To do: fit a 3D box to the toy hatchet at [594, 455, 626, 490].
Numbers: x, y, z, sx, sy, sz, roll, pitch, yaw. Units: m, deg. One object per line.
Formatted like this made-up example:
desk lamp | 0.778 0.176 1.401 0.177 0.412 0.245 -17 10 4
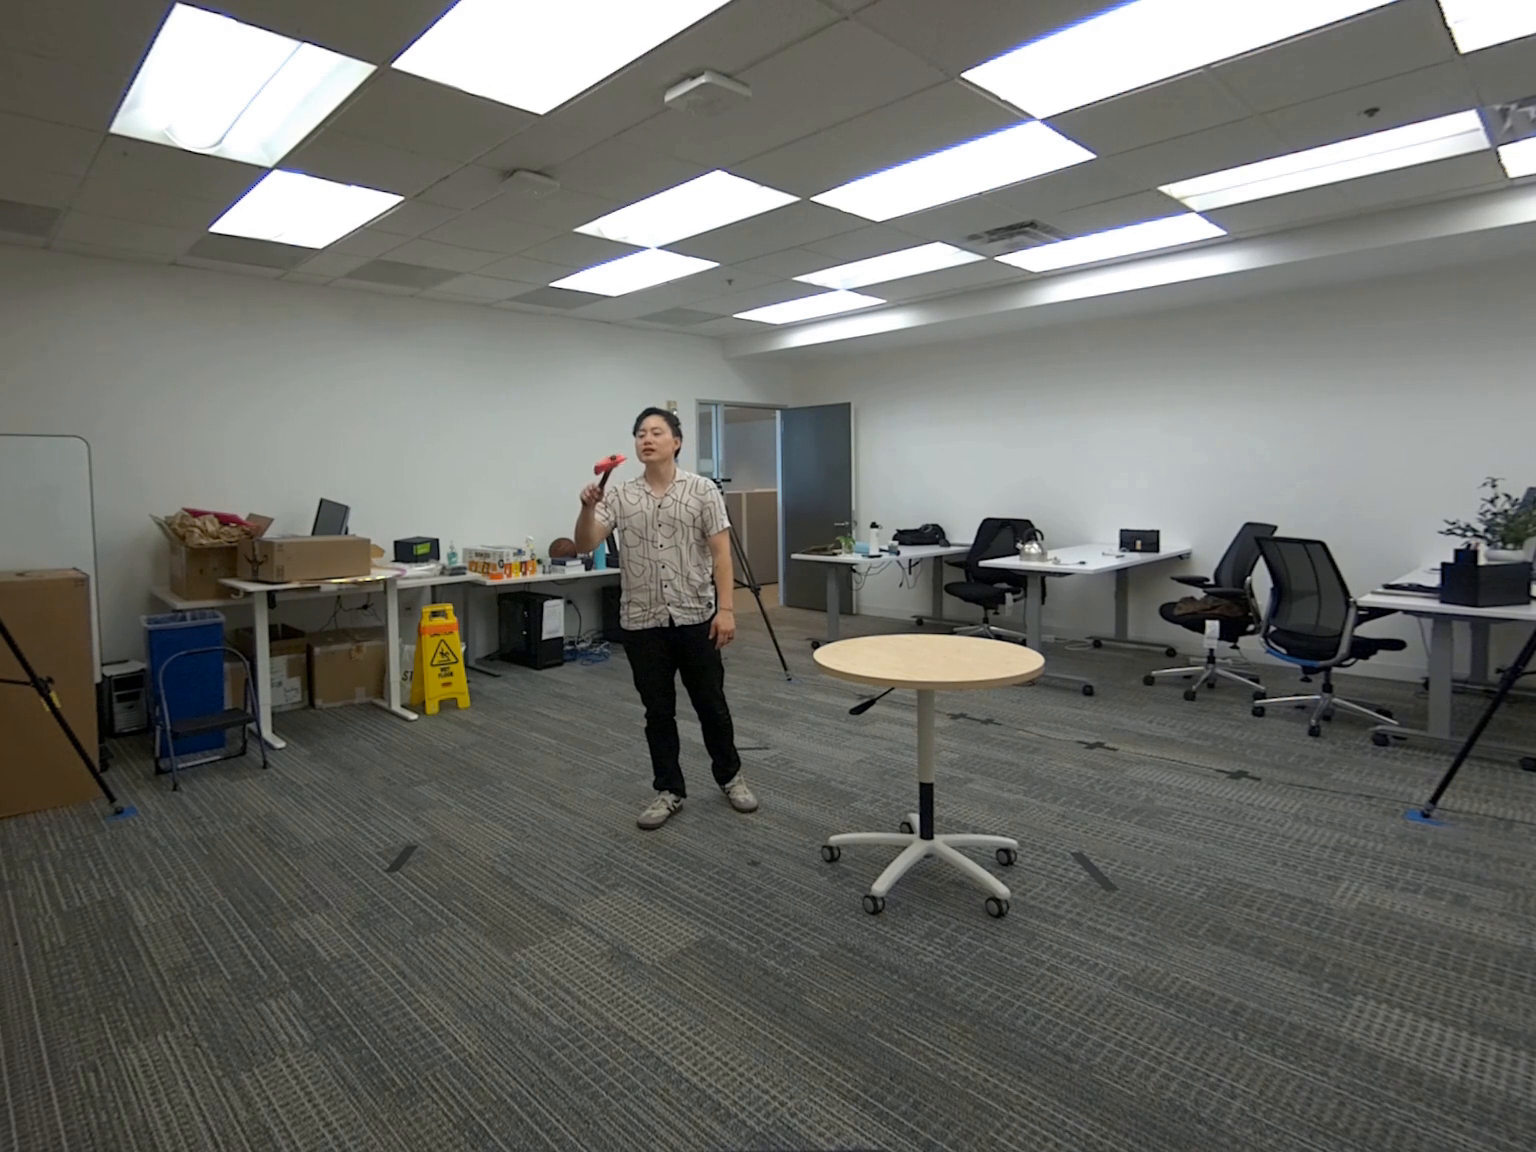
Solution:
toy hatchet | -0.621 -0.337 3.047 0.270 0.030 0.128 -43 -14 32
